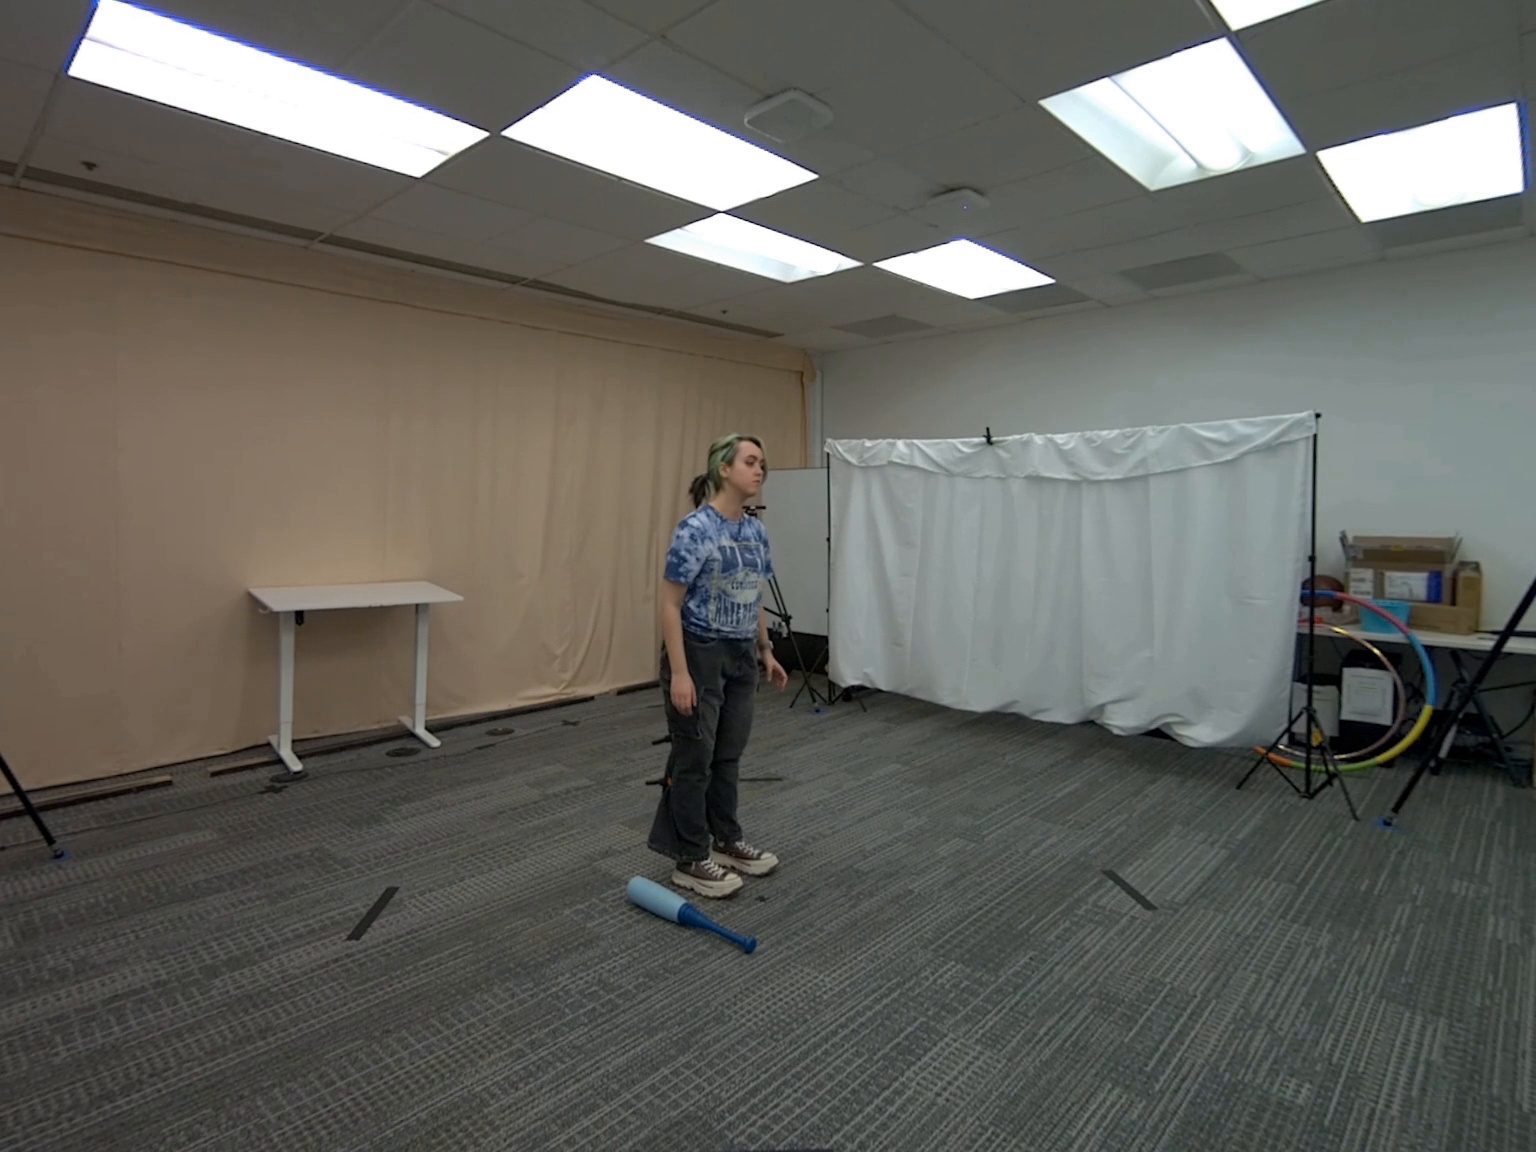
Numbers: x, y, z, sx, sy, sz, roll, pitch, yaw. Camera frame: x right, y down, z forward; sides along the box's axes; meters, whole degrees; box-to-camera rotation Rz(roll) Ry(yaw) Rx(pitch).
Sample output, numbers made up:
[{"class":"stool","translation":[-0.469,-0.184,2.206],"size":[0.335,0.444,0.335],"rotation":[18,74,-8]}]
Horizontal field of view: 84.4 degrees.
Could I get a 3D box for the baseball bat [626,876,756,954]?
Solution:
[{"class":"baseball bat","translation":[-0.264,1.125,2.791],"size":[0.561,0.089,0.086],"rotation":[8,8,39]}]
